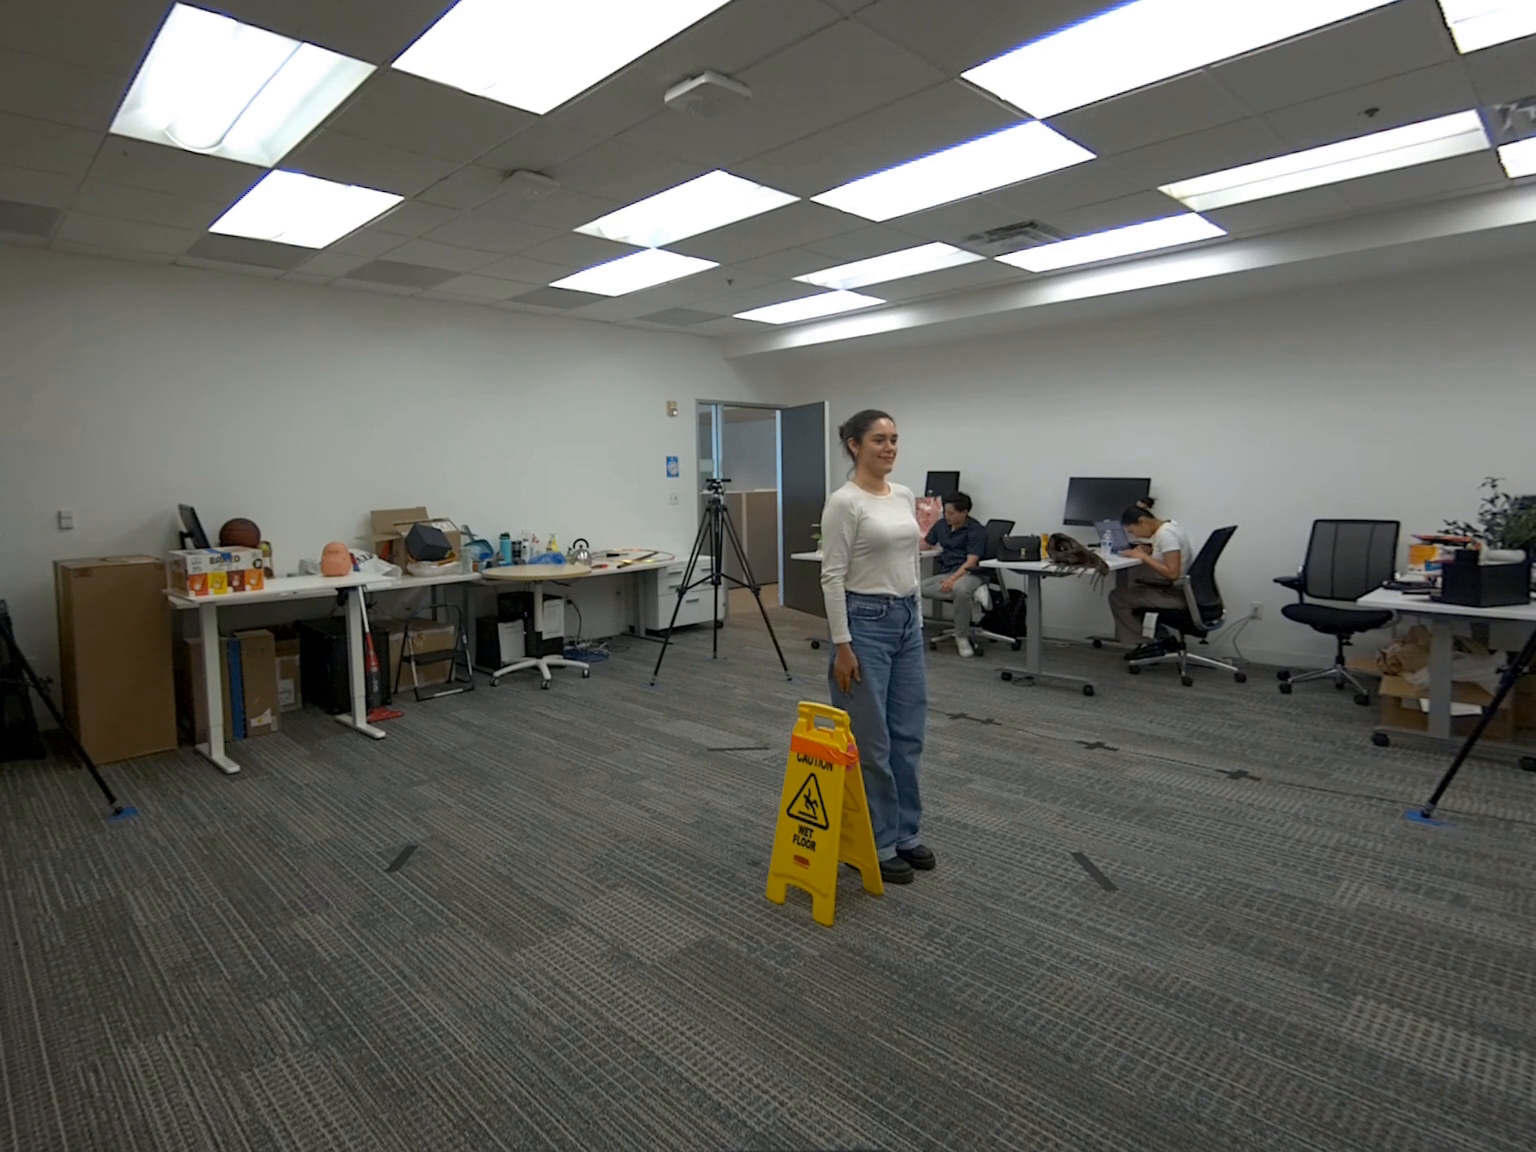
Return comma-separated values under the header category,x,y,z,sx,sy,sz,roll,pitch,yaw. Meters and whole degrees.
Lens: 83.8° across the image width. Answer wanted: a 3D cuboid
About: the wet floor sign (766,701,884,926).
category,x,y,z,sx,sy,sz,roll,pitch,yaw
wet floor sign,0.184,0.748,2.830,0.291,0.644,0.282,2,5,45
